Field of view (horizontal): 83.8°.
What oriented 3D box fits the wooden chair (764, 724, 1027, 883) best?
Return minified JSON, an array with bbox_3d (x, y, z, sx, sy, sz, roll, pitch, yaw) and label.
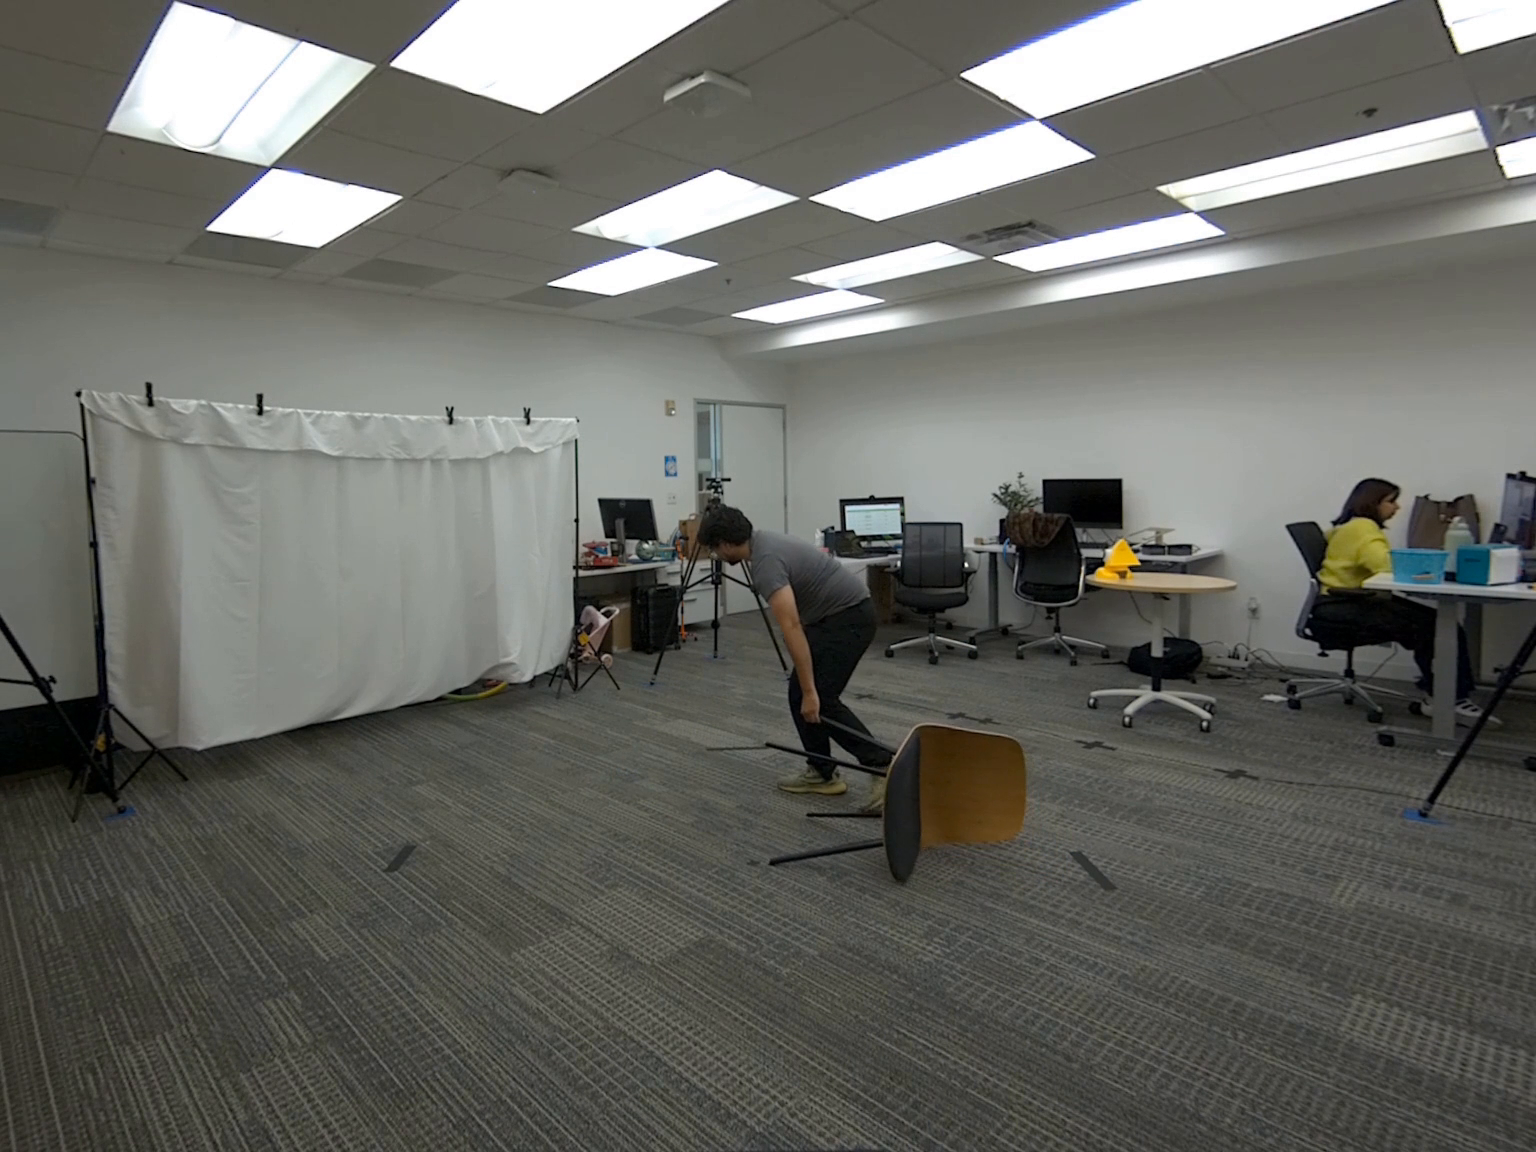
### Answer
[{"bbox_3d":[0.479,0.805,3.090,0.893,0.476,0.516,1,6,18],"label":"wooden chair"}]
